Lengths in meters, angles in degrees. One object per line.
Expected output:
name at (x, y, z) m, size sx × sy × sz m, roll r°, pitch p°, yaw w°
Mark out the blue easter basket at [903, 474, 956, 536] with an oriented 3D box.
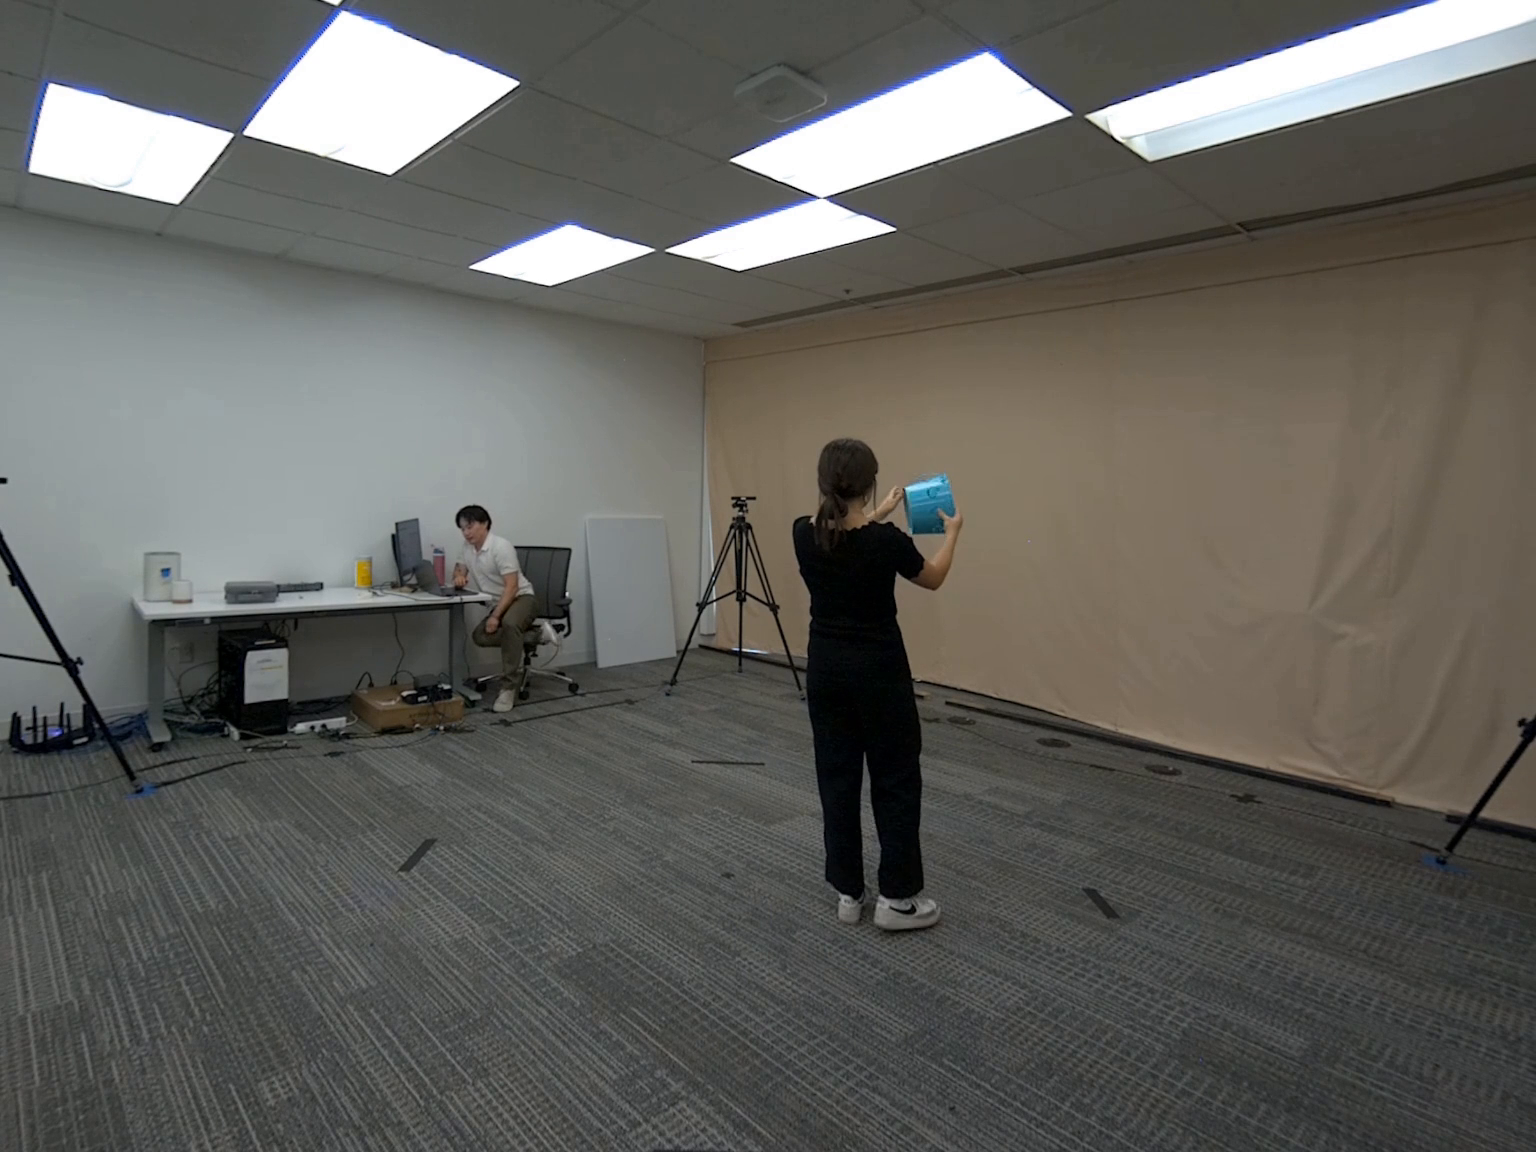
blue easter basket at (0.597, -0.253, 3.120) m, size 0.156 × 0.243 × 0.243 m, roll -11°, pitch 3°, yaw 5°
